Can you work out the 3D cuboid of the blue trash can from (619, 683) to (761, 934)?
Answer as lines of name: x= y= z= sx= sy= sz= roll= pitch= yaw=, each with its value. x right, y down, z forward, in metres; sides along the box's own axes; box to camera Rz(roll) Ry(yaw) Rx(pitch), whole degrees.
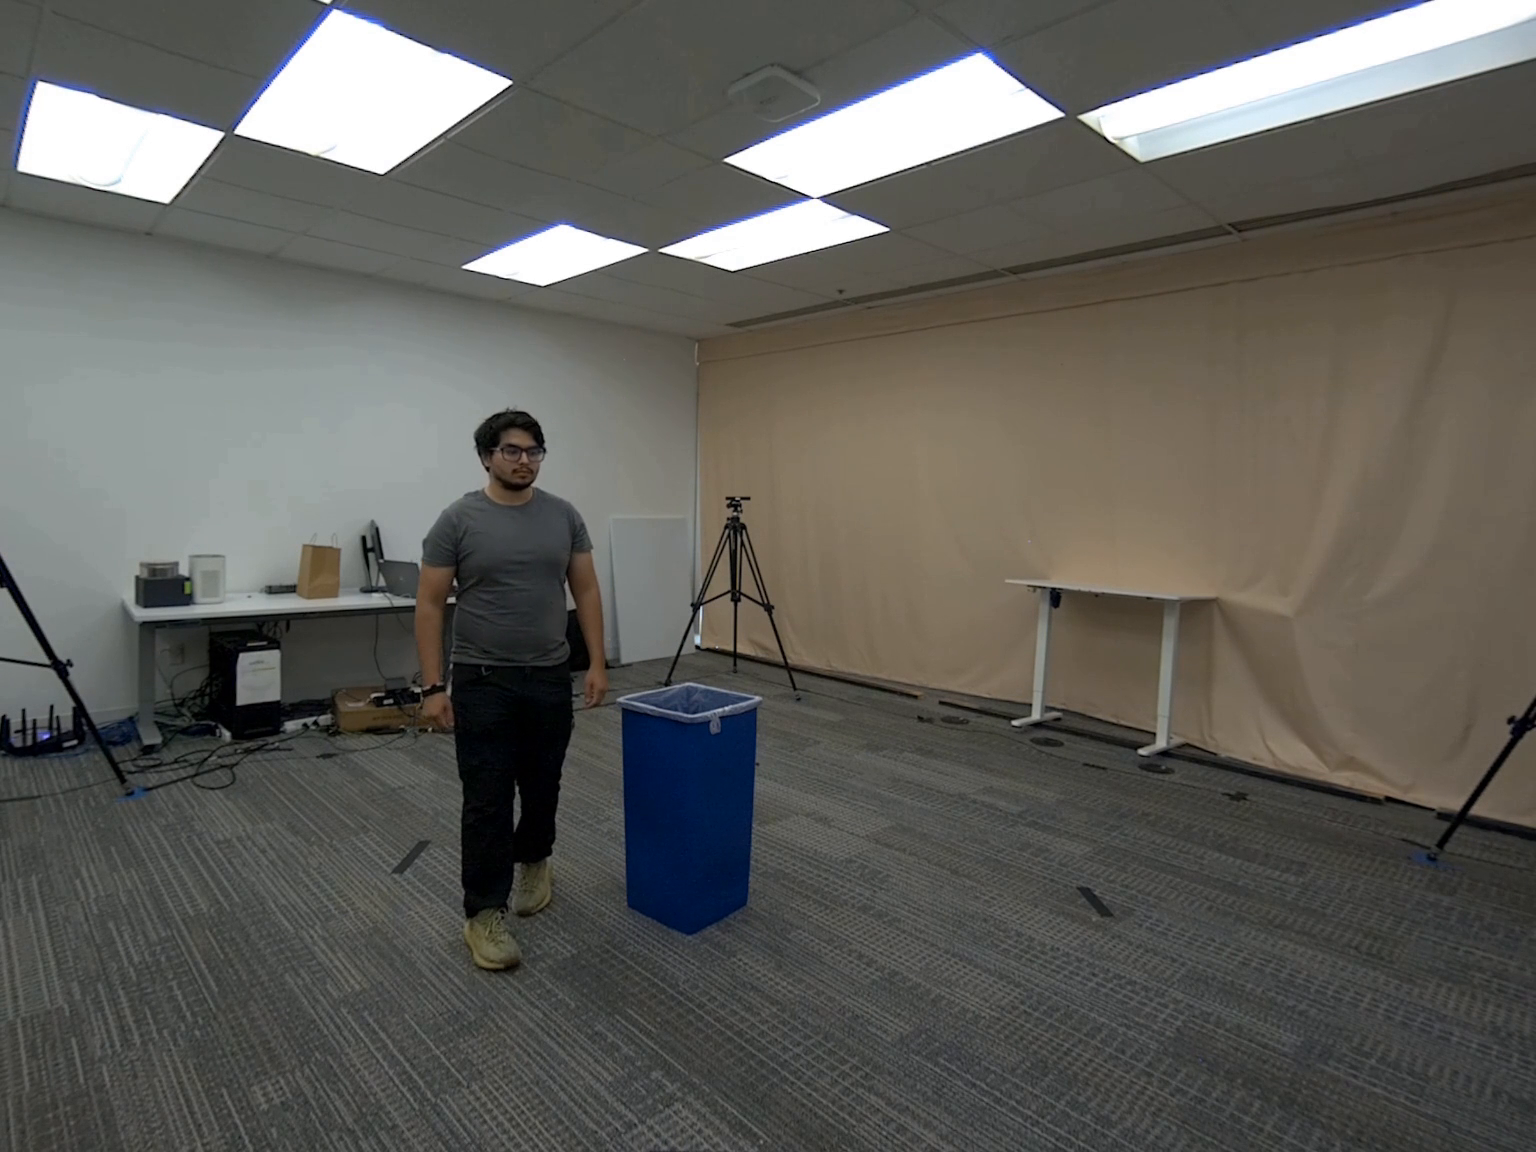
blue trash can: x=-0.279 y=0.767 z=2.864 sx=0.383 sy=0.712 sz=0.369 roll=4 pitch=4 yaw=39
